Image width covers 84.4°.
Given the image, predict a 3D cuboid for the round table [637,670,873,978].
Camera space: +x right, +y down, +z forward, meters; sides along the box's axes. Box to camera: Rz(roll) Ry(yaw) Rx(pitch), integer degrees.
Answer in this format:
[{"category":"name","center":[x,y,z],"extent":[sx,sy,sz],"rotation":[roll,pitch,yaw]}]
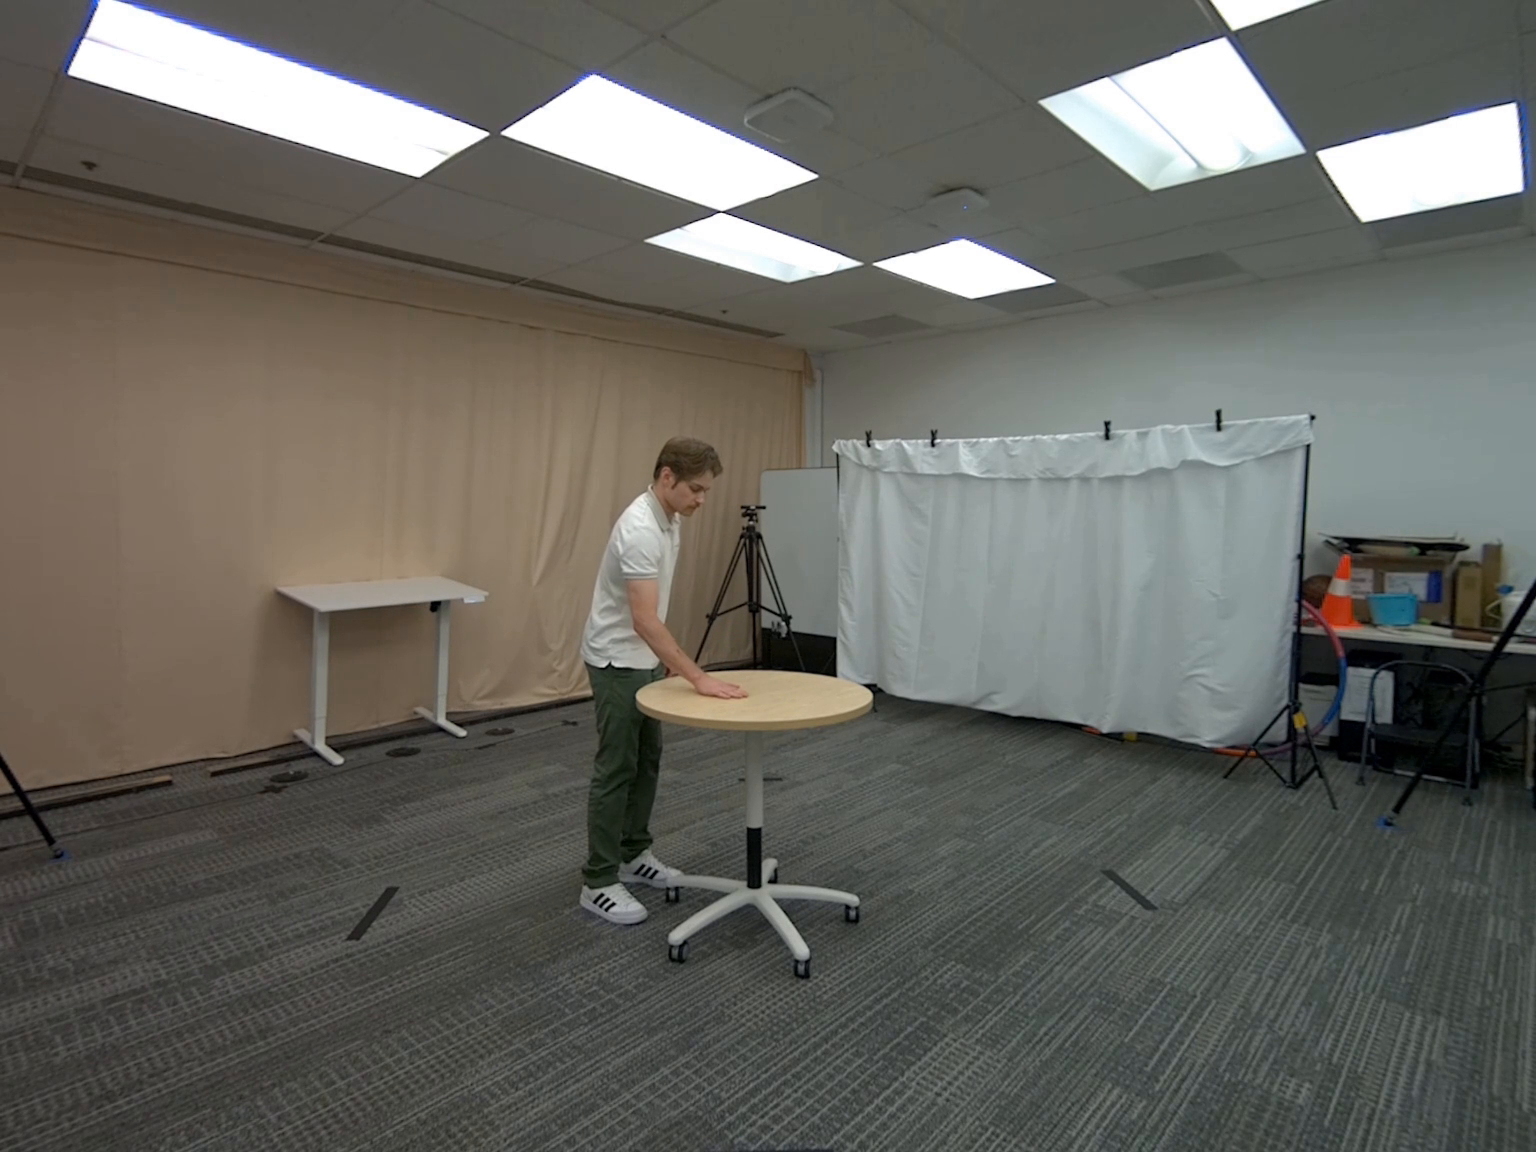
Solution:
[{"category":"round table","center":[-0.035,0.770,2.744],"extent":[0.784,0.785,0.788],"rotation":[-1,3,-2]}]
